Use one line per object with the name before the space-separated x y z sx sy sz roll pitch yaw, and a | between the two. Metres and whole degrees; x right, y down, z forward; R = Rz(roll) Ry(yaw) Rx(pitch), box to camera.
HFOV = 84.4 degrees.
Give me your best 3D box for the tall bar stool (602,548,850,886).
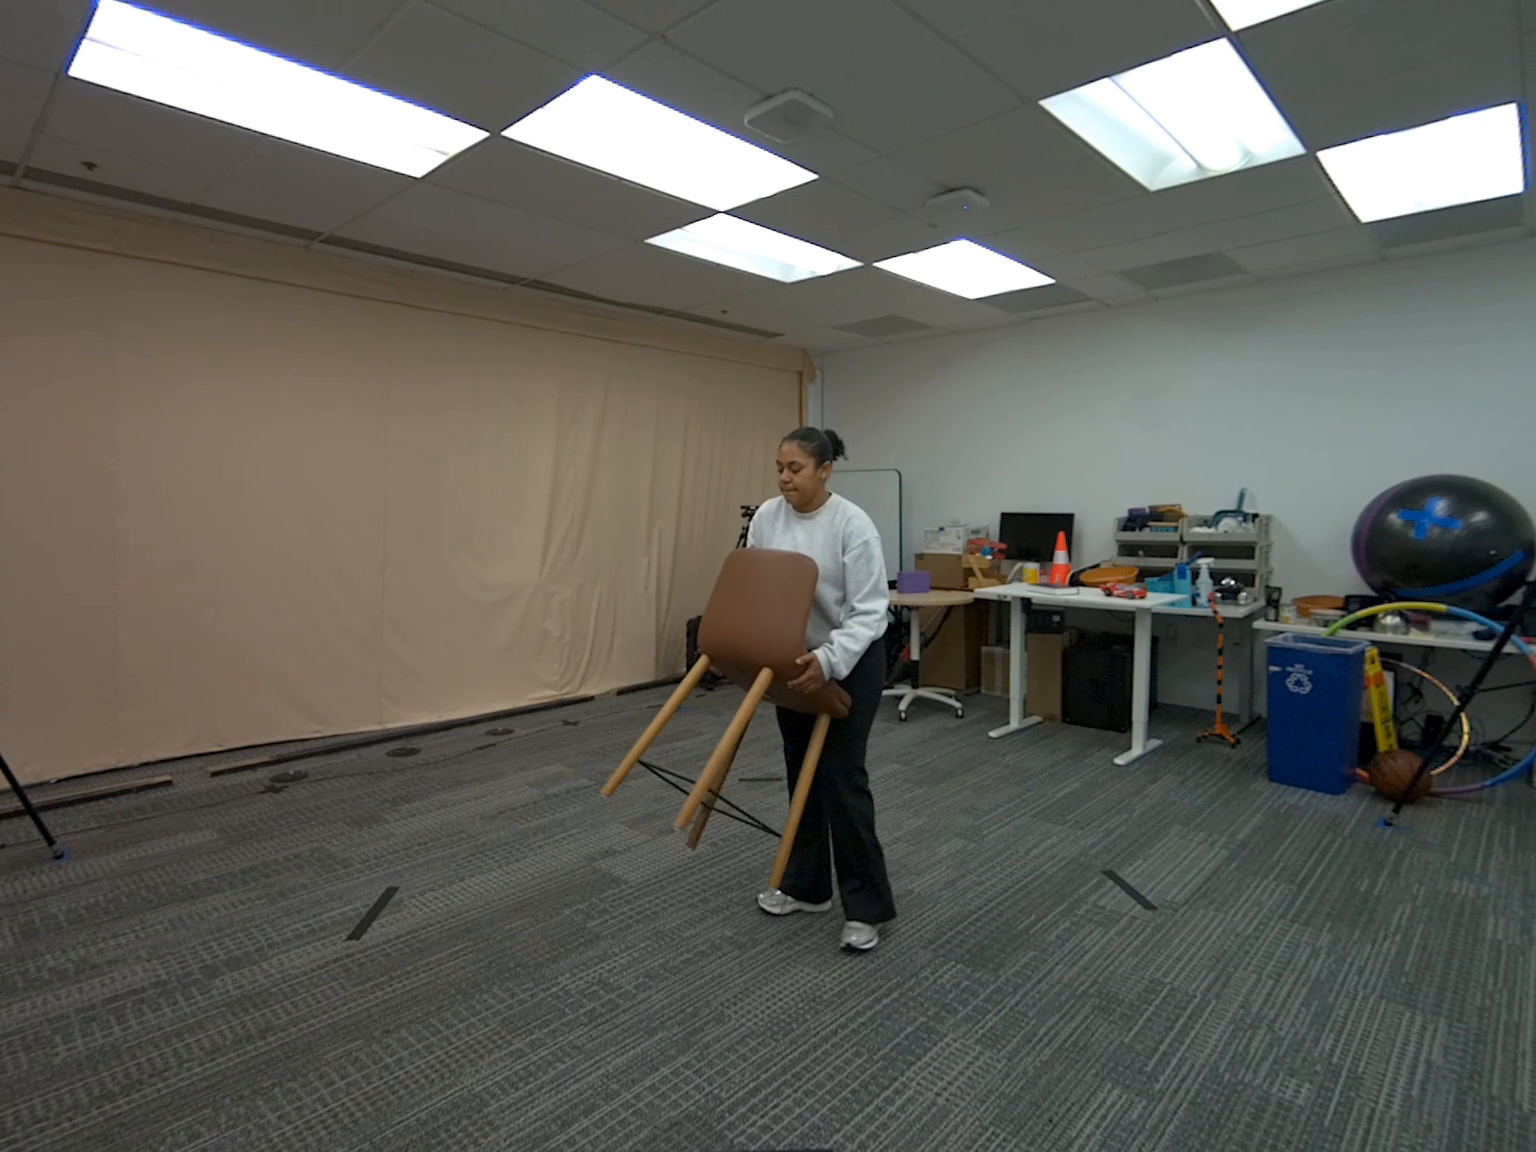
tall bar stool | -0.057 0.424 2.606 0.471 0.891 0.451 3 -29 47
